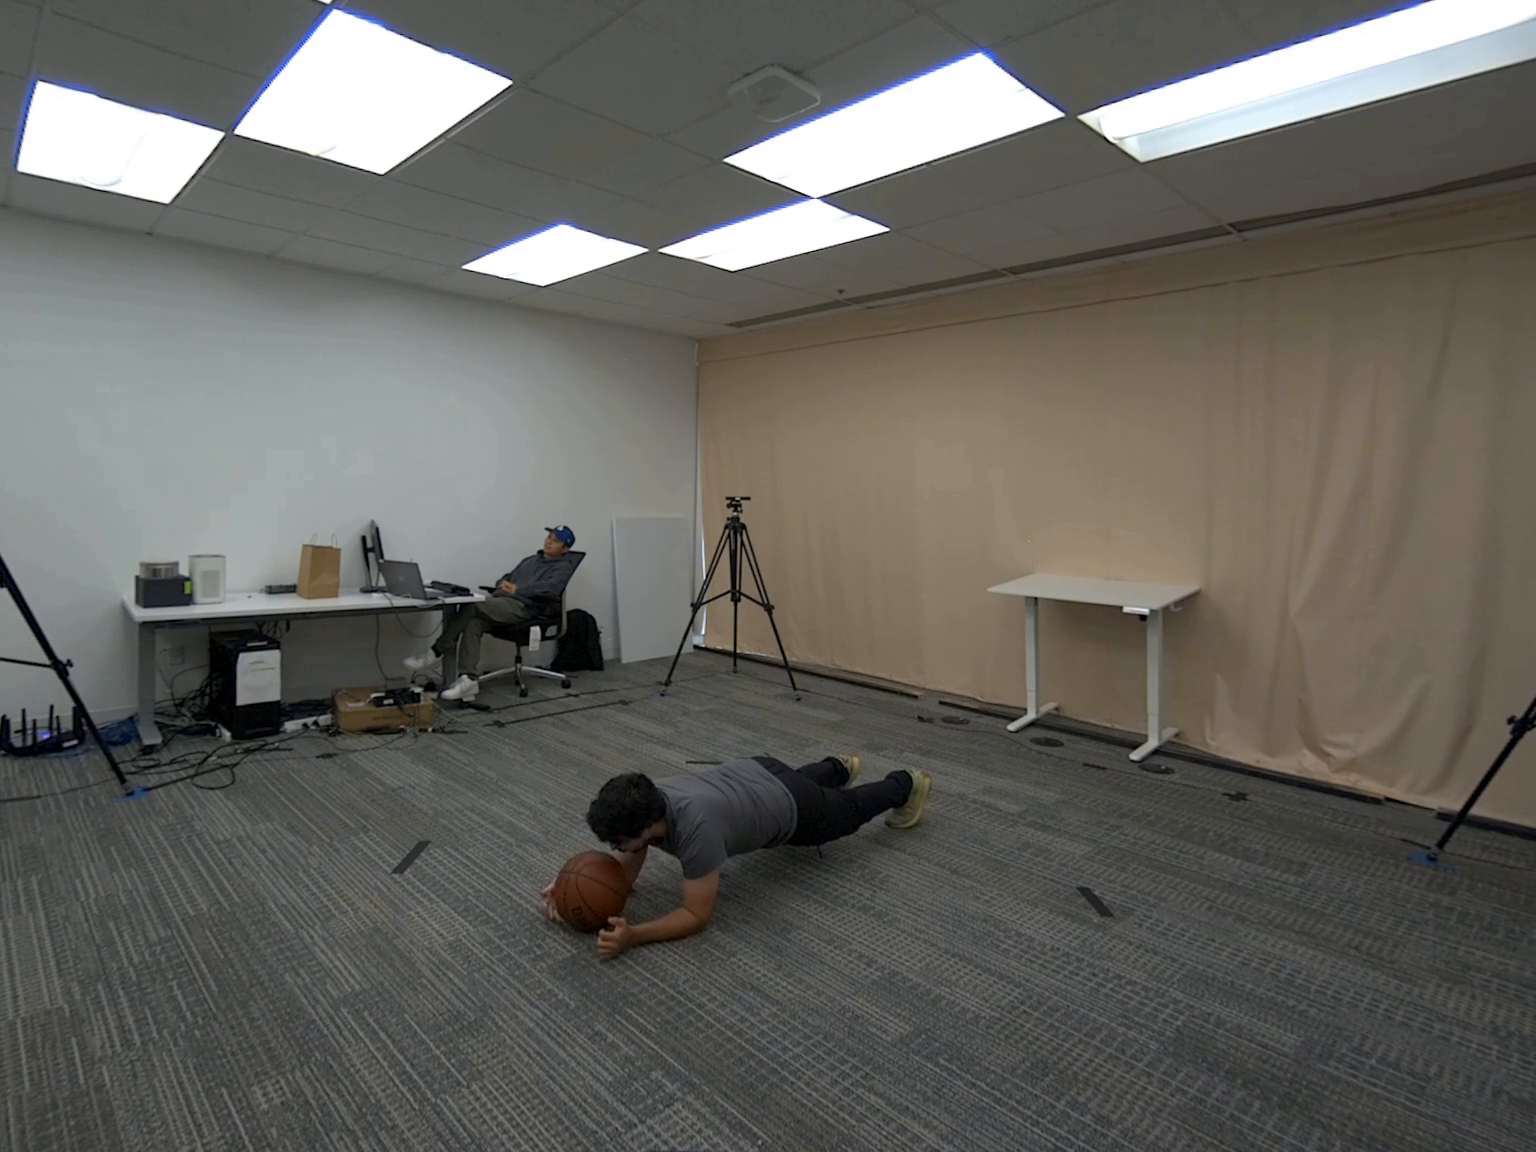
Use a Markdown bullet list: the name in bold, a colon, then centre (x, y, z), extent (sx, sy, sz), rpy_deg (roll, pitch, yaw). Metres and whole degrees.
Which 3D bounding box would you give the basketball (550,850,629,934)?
- **basketball**: centre (-0.571, 1.006, 2.725), extent (0.236, 0.235, 0.237), rpy_deg (1, 4, -1)
